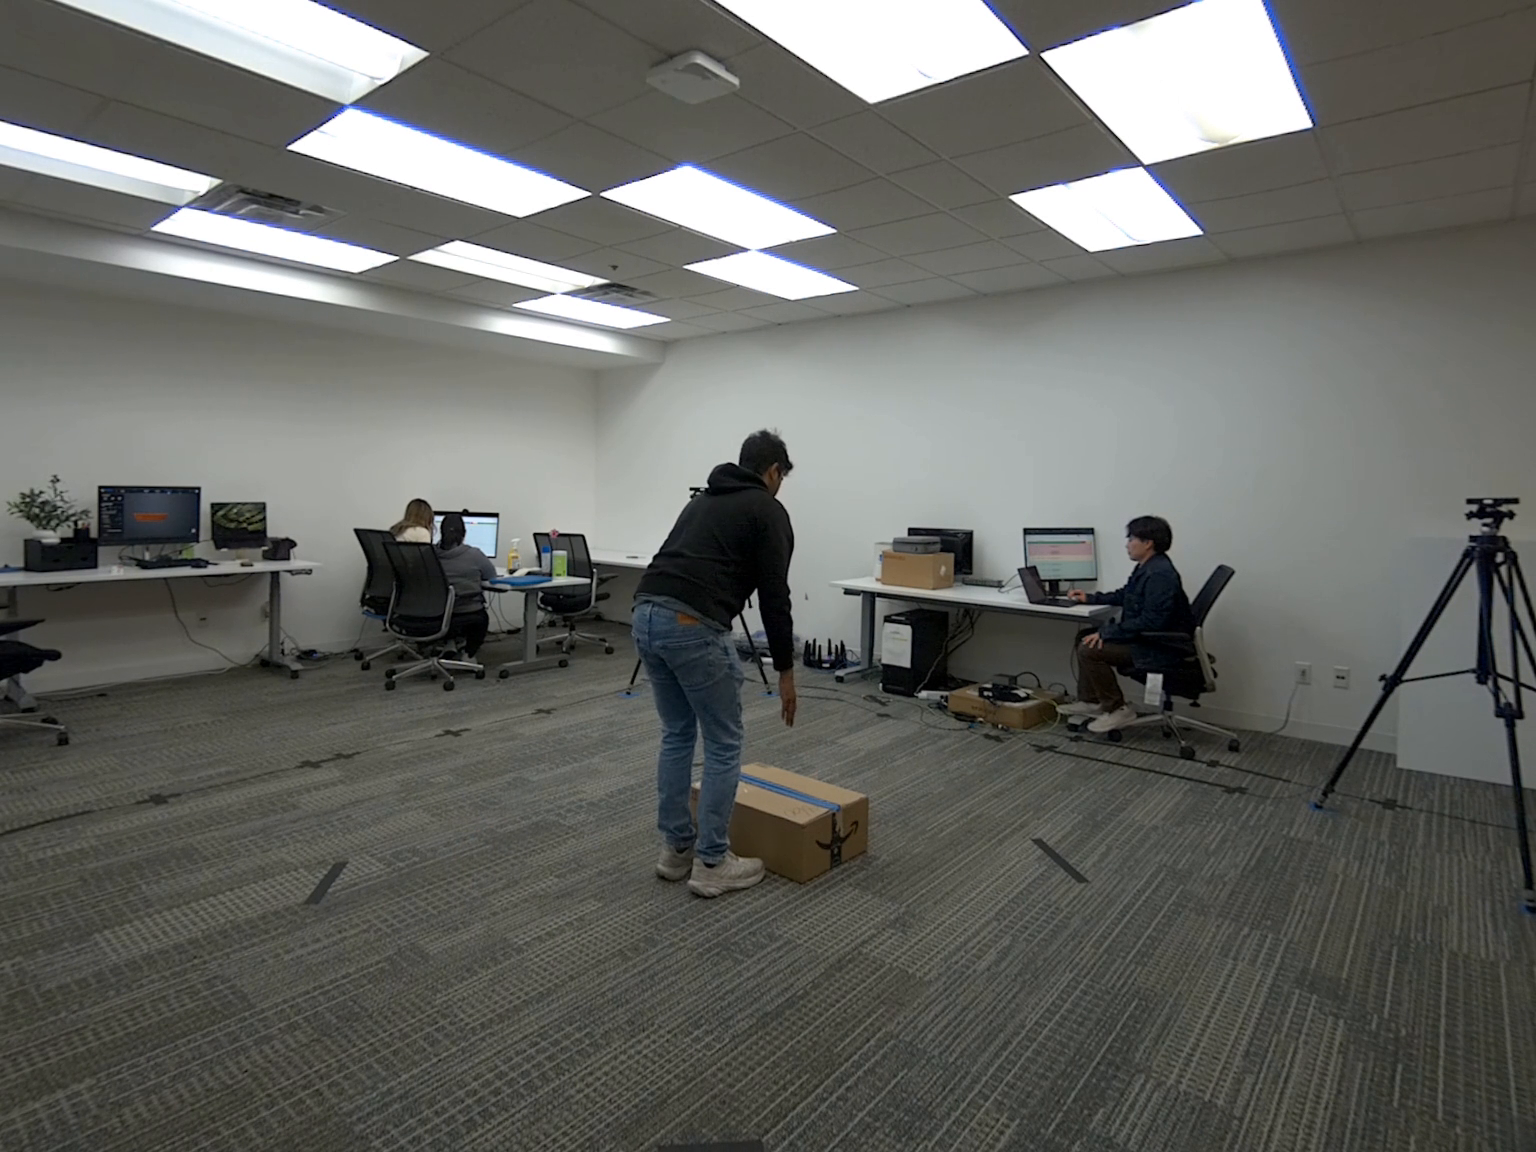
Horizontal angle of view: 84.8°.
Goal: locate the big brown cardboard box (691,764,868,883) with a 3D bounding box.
[{"bbox_3d":[0.026,0.937,3.327,0.609,0.232,0.405,6,7,40],"label":"big brown cardboard box"}]
